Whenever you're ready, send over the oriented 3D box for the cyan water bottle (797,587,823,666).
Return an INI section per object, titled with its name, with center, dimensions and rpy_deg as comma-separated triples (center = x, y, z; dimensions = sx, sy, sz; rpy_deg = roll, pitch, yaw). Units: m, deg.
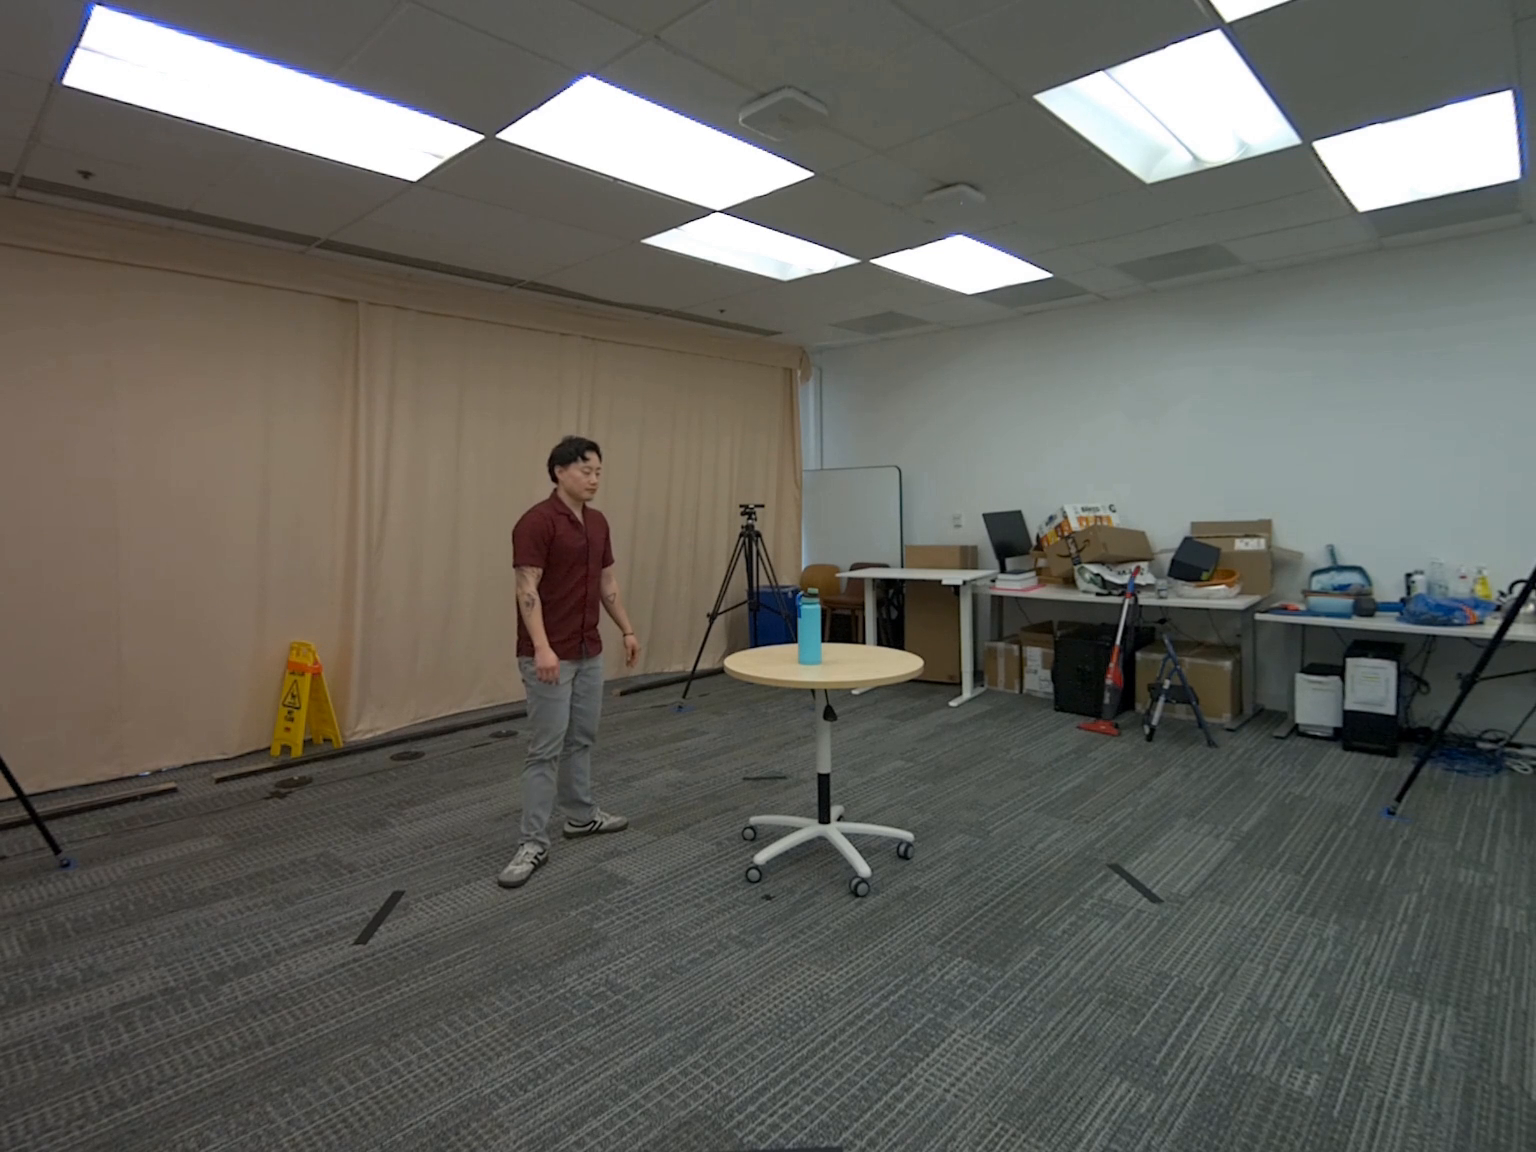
[cyan water bottle]
center = 0.164, 0.194, 3.221
dimensions = 0.092, 0.283, 0.092
rpy_deg = -3, 3, -2
